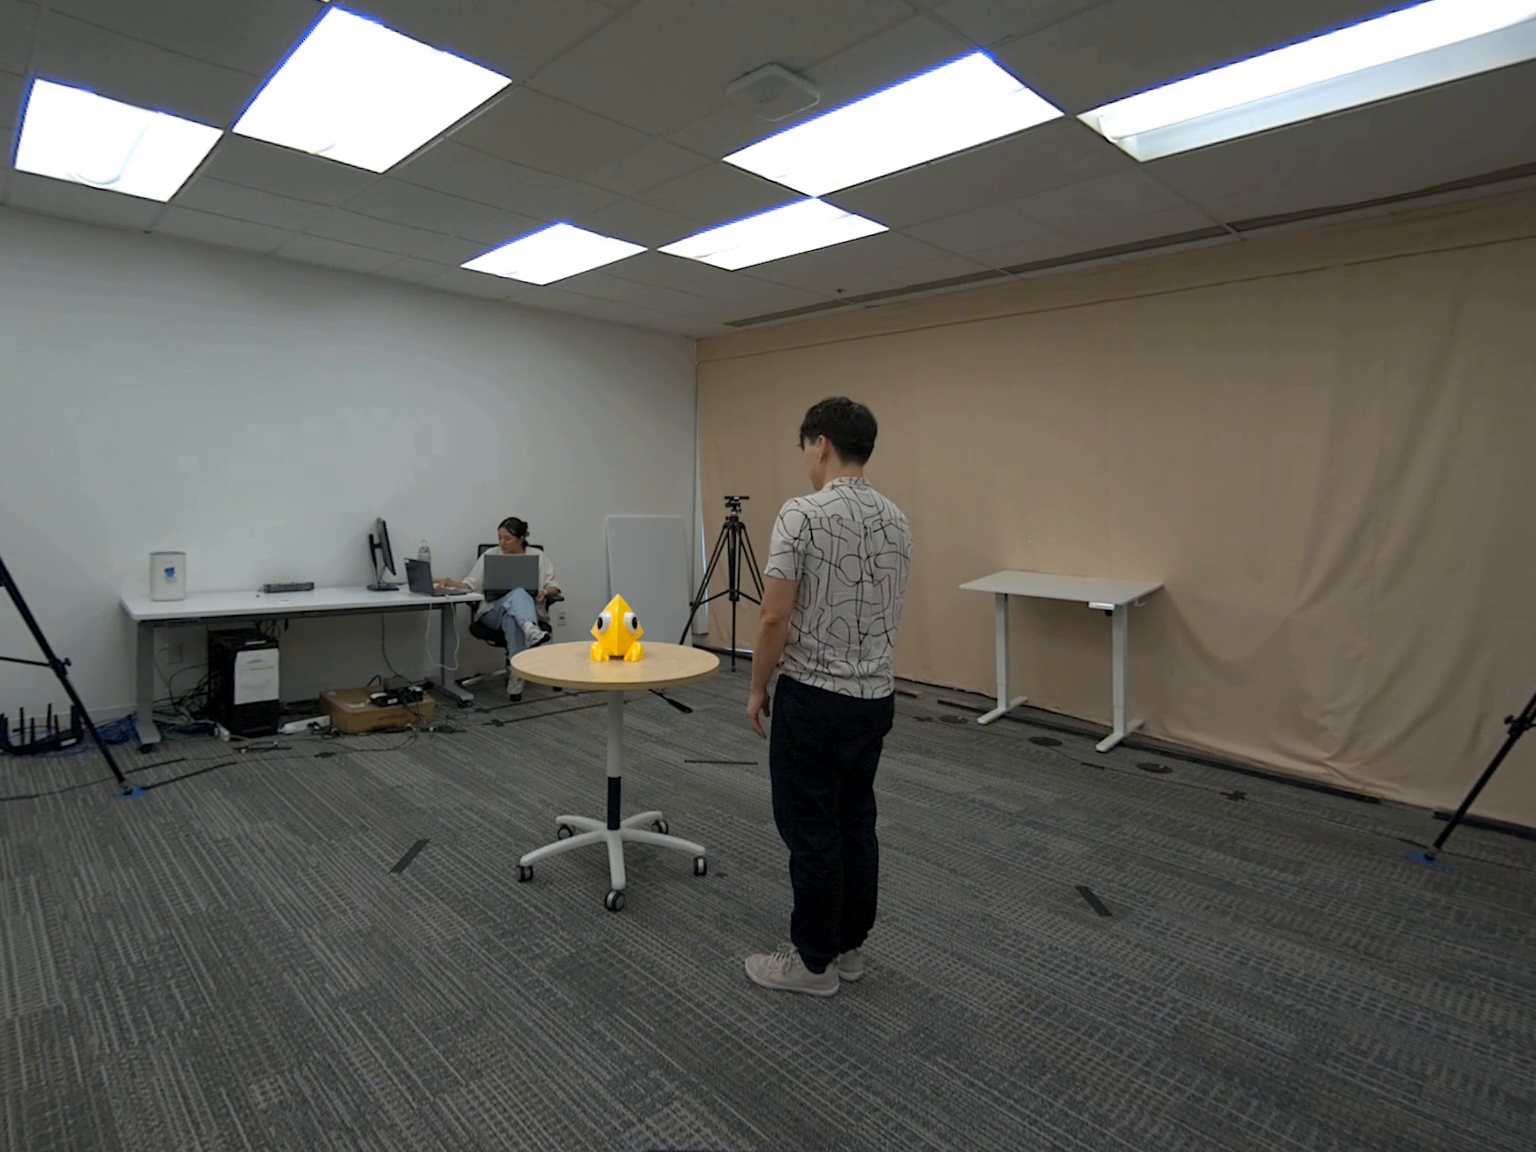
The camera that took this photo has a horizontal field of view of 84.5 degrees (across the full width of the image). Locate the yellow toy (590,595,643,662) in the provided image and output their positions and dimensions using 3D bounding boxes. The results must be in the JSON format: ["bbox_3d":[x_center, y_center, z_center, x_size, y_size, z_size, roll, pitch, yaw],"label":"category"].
[{"bbox_3d":[-0.571,0.190,3.162,0.203,0.230,0.195,1,4,-9],"label":"yellow toy"}]
